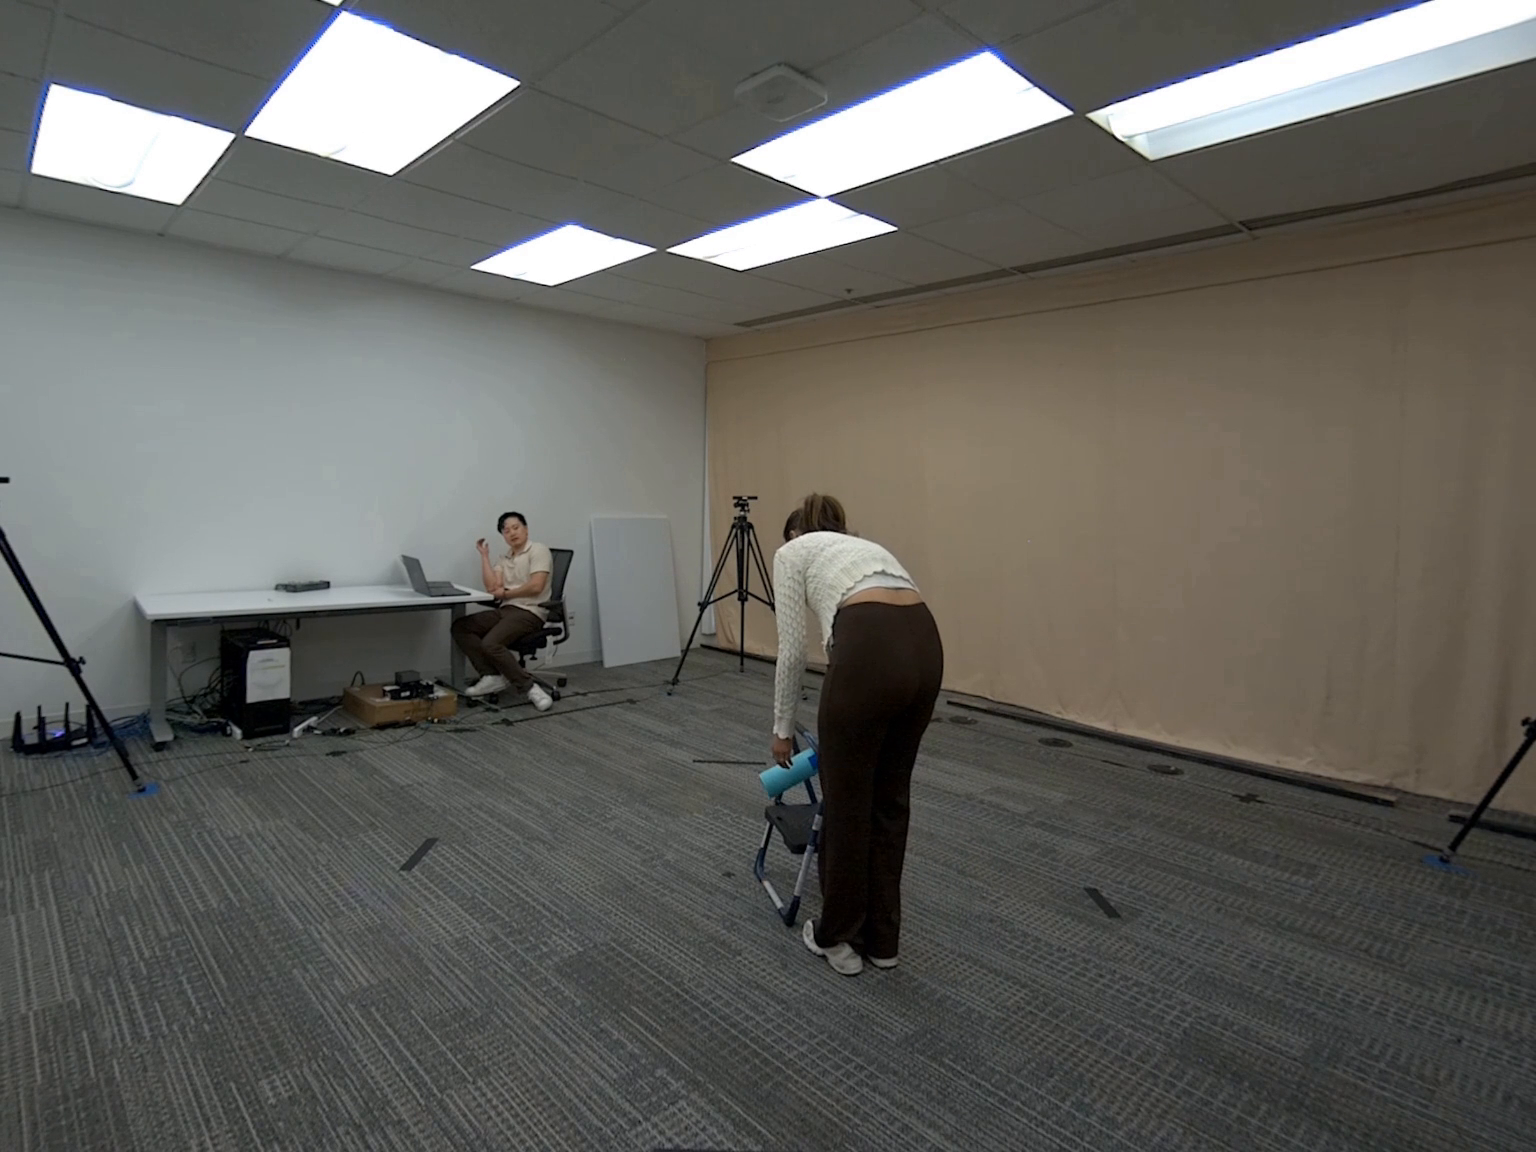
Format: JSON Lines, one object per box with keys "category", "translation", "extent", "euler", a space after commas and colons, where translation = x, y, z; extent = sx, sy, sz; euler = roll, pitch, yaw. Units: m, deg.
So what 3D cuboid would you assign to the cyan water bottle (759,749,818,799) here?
{"category": "cyan water bottle", "translation": [0.115, 0.664, 2.909], "extent": [0.282, 0.091, 0.093], "euler": [-26, 9, -7]}
